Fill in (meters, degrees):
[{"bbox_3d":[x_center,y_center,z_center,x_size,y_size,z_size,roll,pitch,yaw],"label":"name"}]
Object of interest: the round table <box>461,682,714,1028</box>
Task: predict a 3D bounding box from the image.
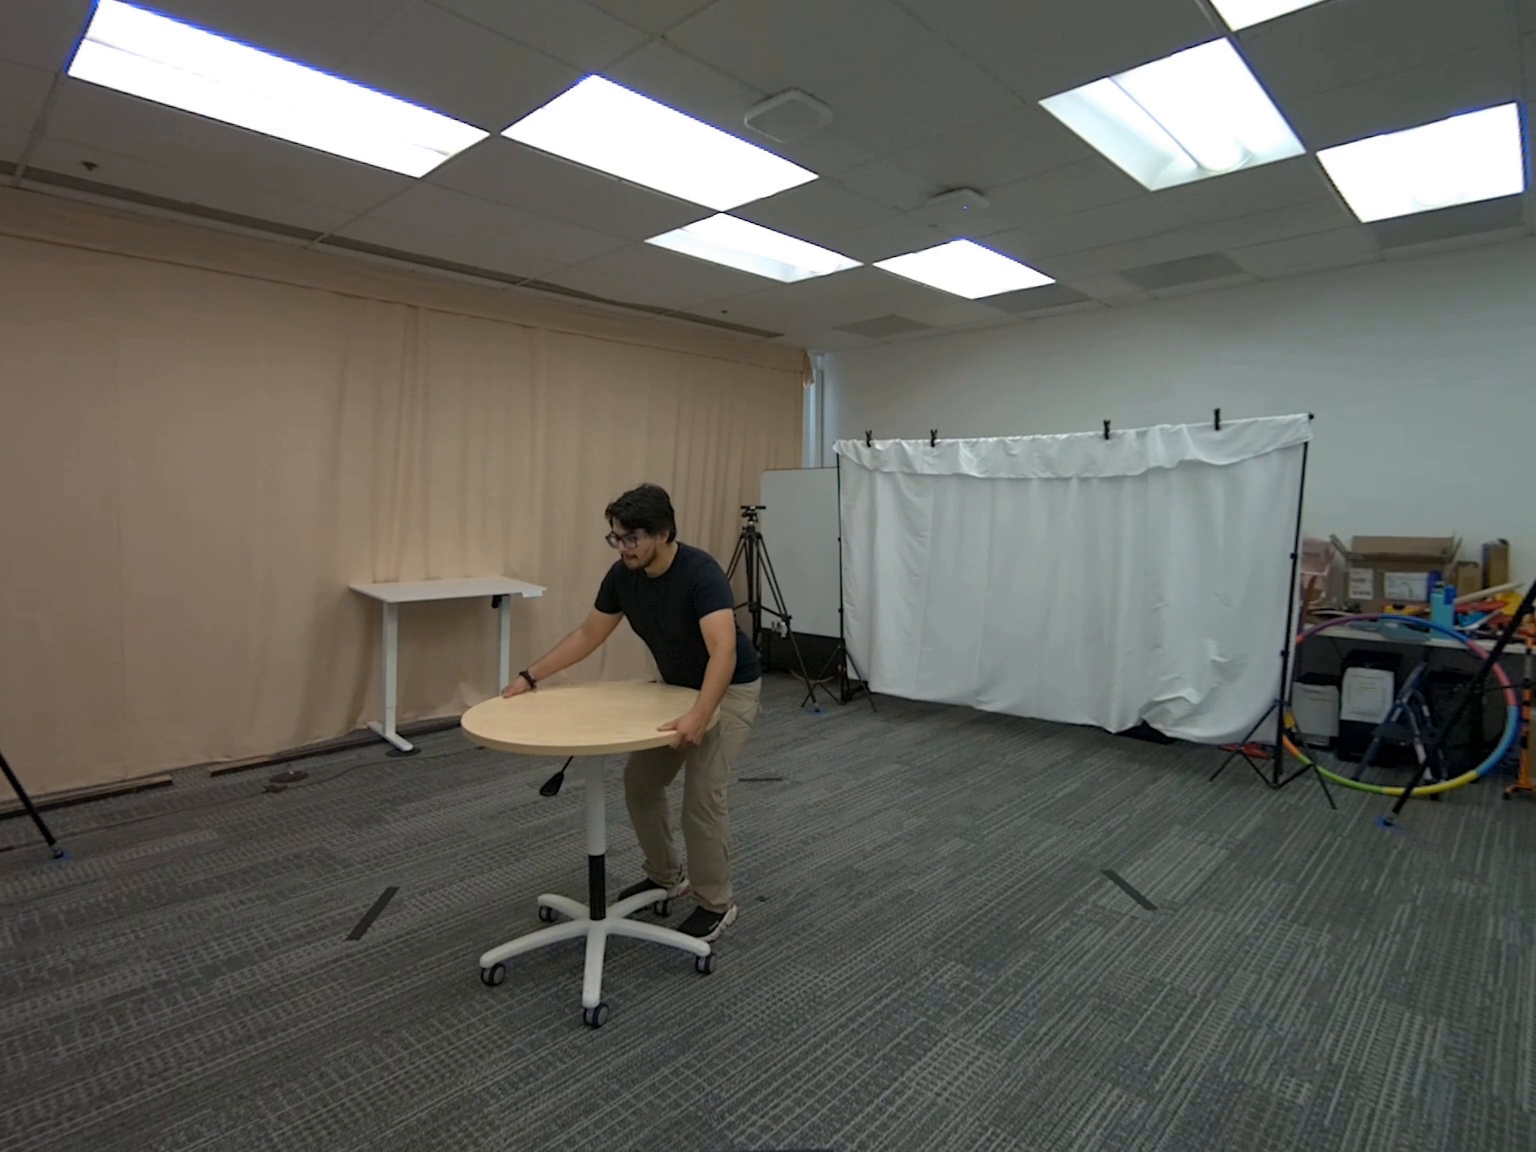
[{"bbox_3d":[-0.509,0.789,2.543,0.784,0.784,0.788,-1,4,-2],"label":"round table"}]
